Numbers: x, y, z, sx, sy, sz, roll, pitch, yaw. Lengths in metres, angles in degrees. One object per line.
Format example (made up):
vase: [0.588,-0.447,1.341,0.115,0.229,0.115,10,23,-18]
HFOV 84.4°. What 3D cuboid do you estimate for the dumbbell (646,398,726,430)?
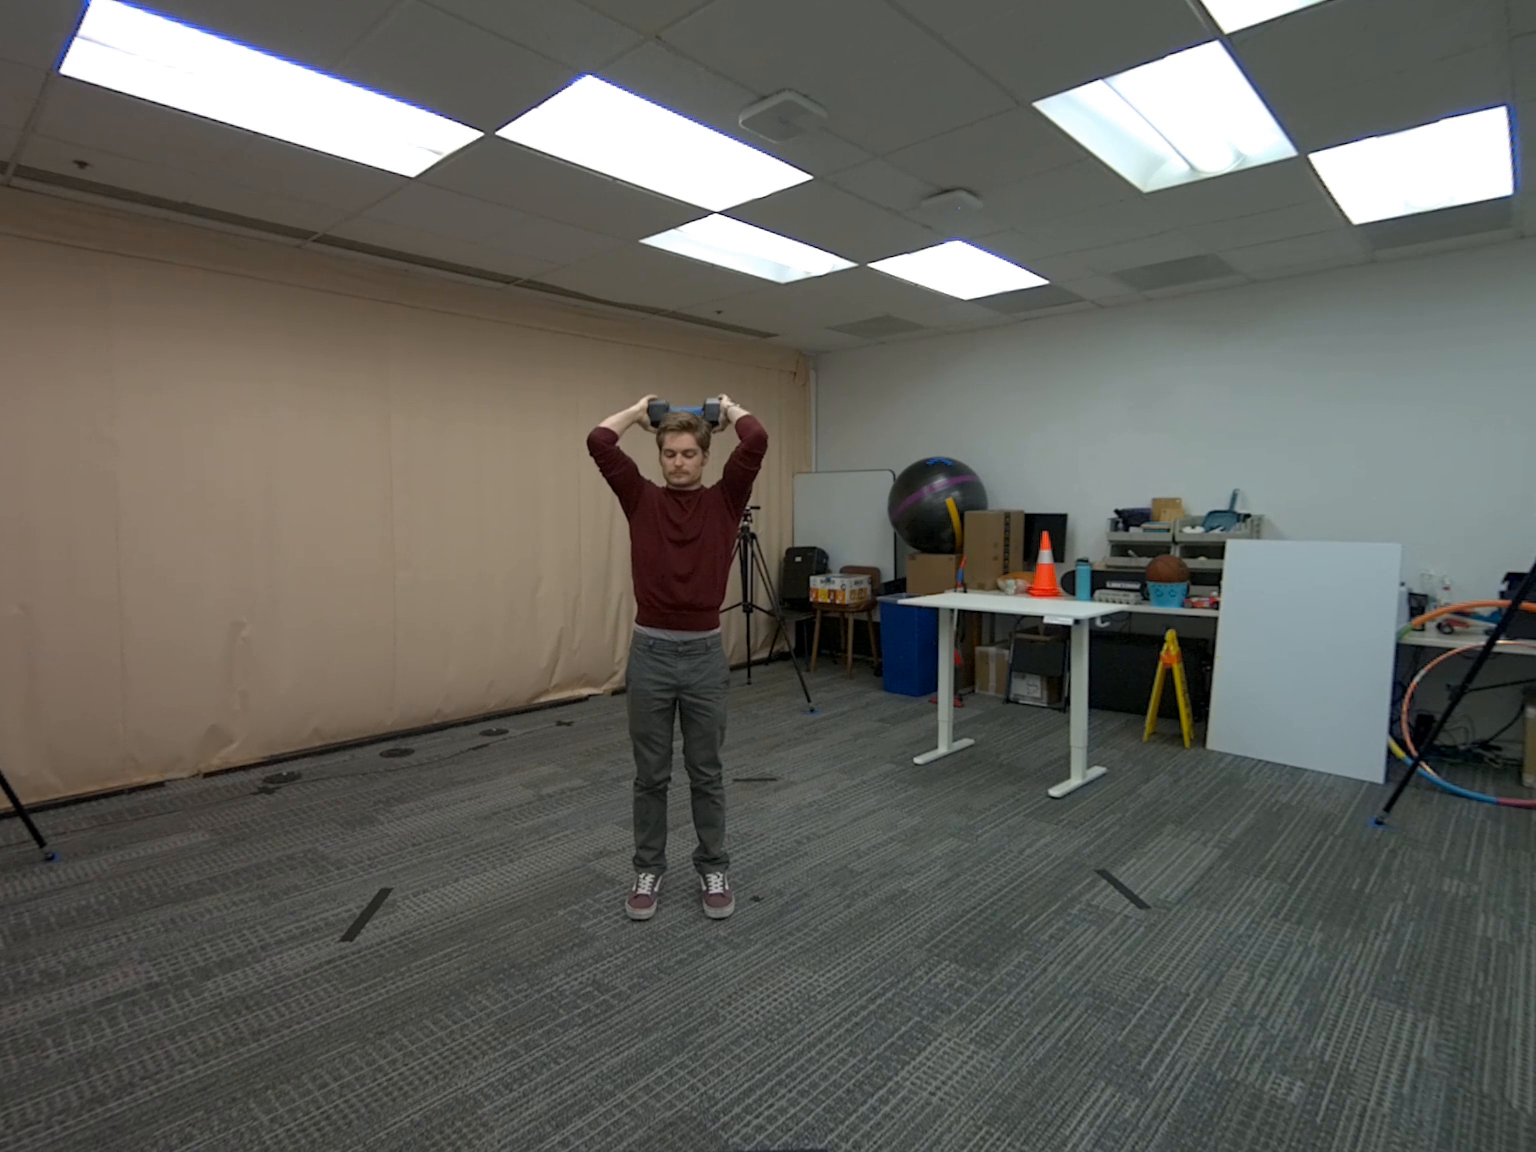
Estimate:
dumbbell: [-0.314,-0.595,3.057,0.296,0.123,0.107,1,-2,8]
